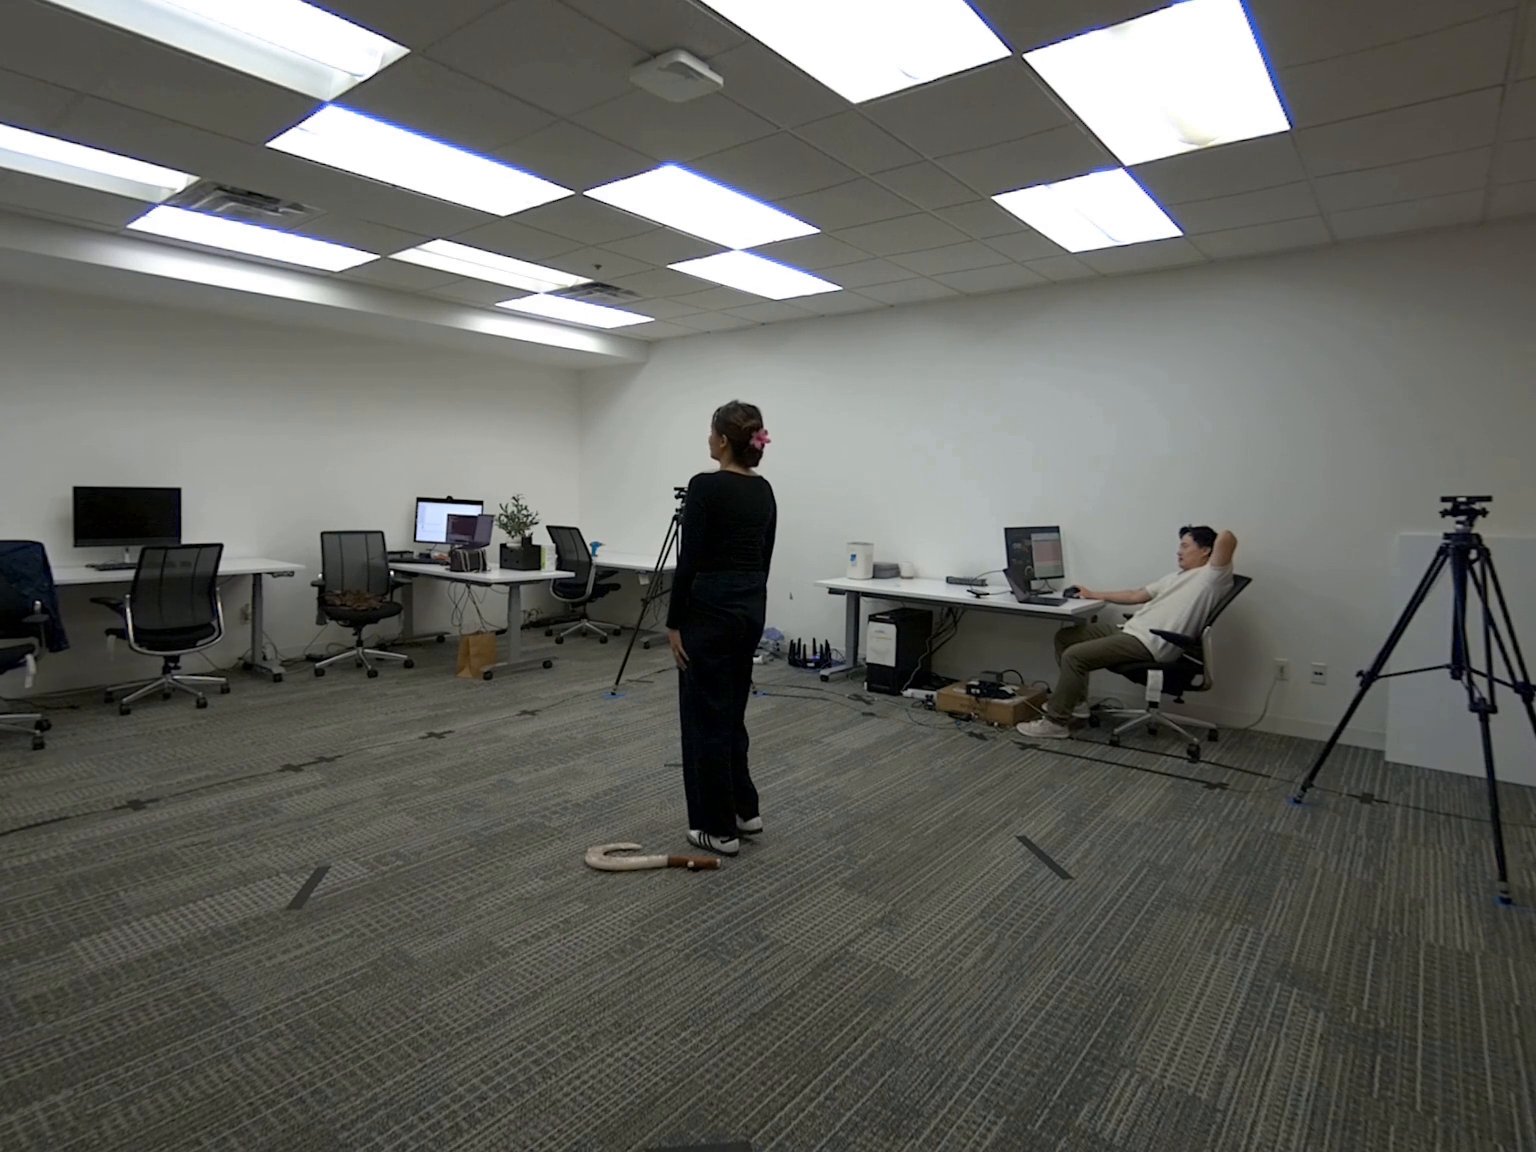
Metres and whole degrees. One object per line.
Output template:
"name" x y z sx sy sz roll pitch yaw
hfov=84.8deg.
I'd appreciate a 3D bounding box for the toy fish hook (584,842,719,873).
"toy fish hook" -0.435 1.035 3.161 0.507 0.048 0.226 1 7 0
